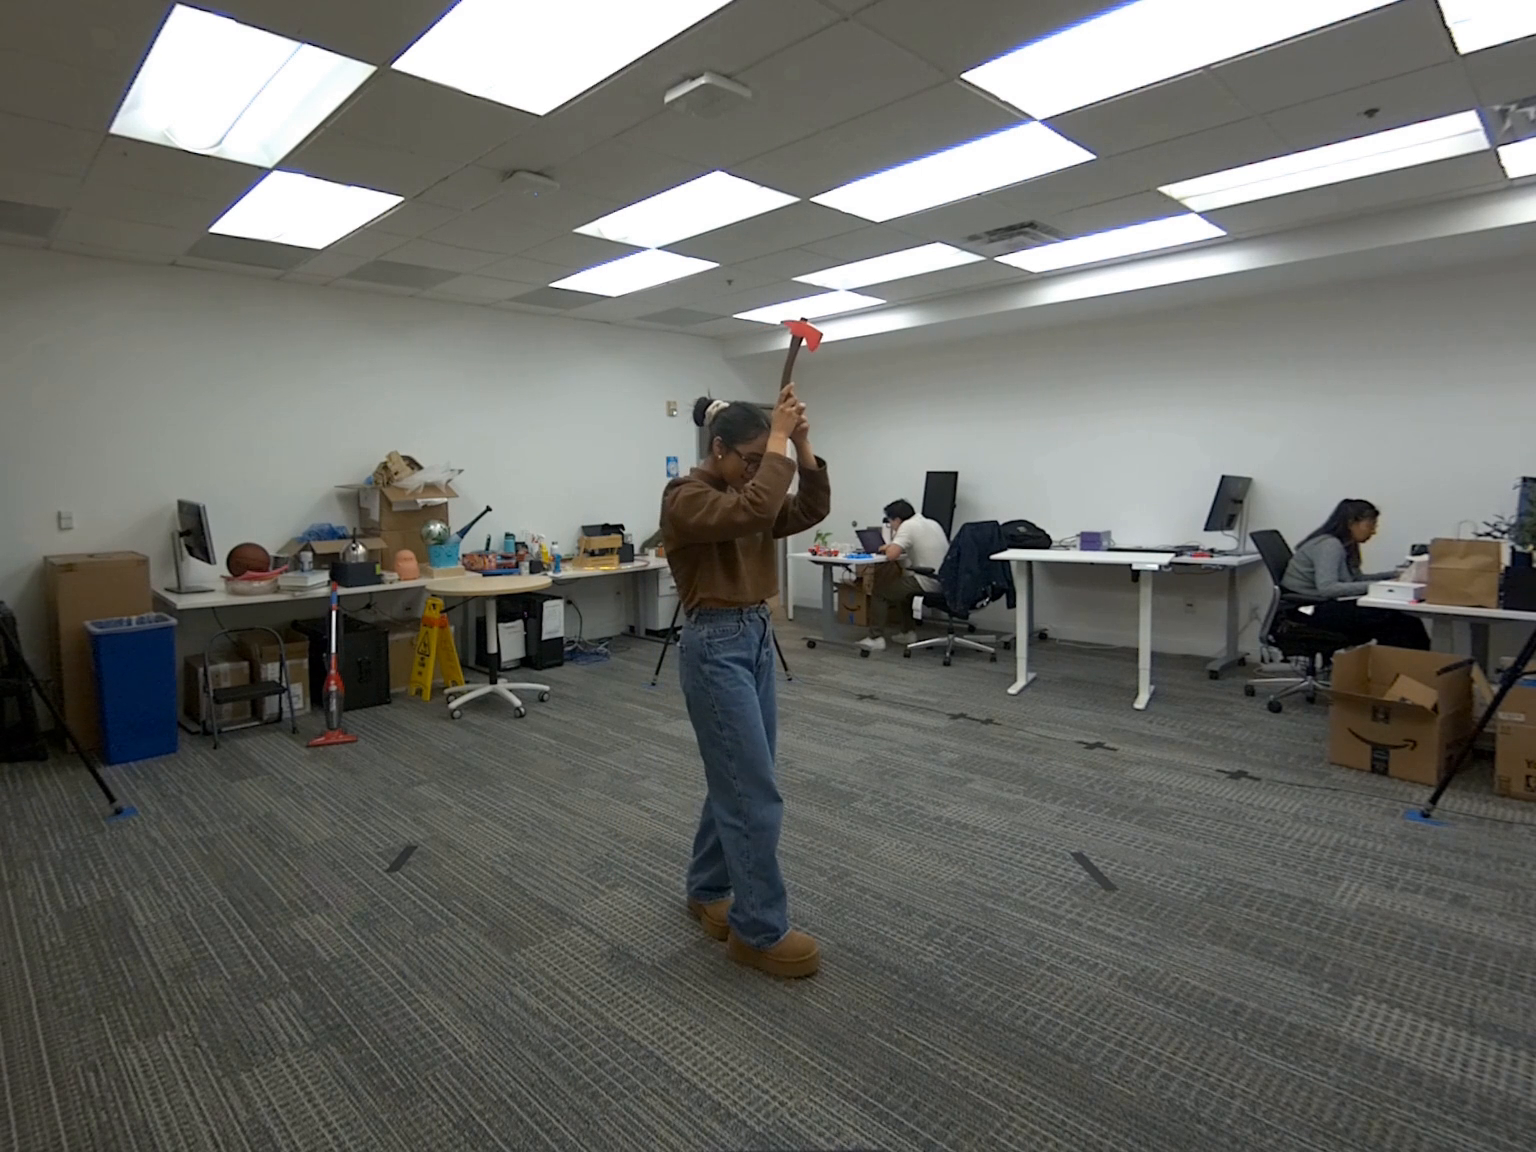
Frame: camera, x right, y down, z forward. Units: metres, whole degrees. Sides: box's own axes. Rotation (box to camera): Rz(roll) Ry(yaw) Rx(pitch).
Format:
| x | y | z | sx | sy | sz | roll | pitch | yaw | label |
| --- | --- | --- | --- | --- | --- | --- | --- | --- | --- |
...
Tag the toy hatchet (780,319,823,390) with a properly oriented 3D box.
| x | y | z | sx | sy | sz | roll | pitch | yaw | label |
| --- | --- | --- | --- | --- | --- | --- | --- | --- | --- |
| 0.098 | -0.575 | 2.344 | 0.134 | 0.268 | 0.029 | 5 | 9 | 26 | toy hatchet |
